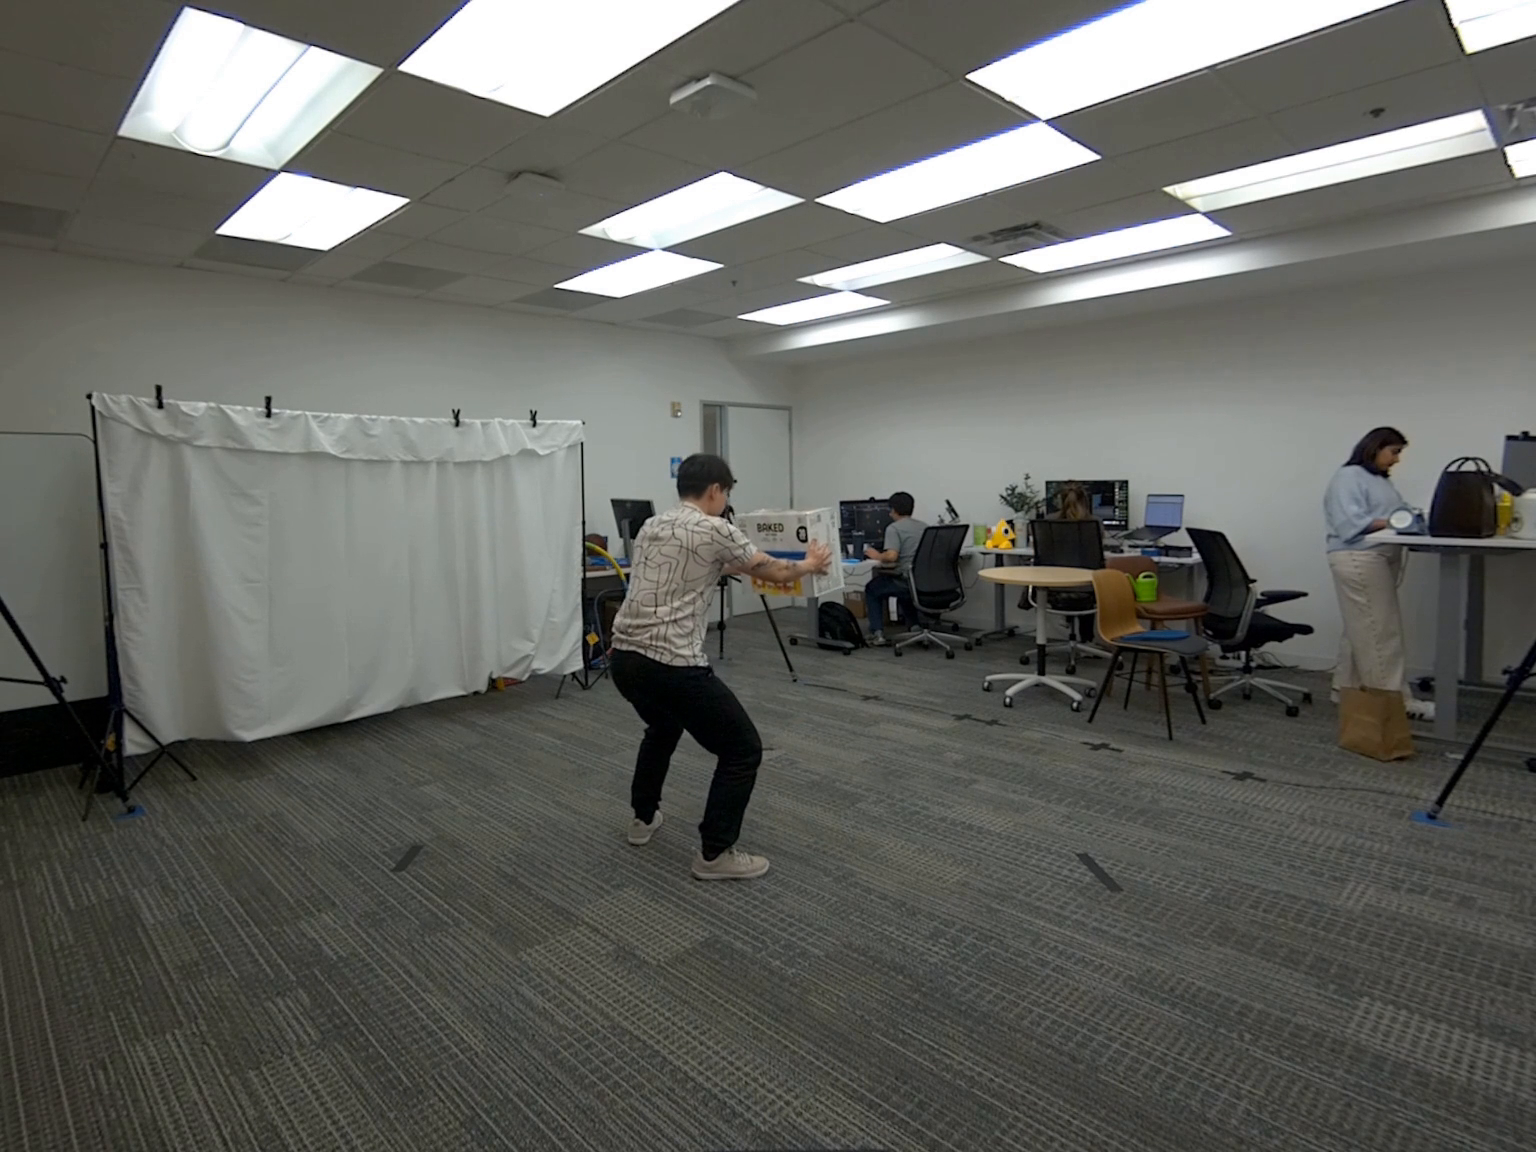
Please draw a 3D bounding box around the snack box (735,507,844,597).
[{"bbox_3d":[0.087,-0.102,3.599,0.417,0.338,0.201,1,11,44],"label":"snack box"}]
